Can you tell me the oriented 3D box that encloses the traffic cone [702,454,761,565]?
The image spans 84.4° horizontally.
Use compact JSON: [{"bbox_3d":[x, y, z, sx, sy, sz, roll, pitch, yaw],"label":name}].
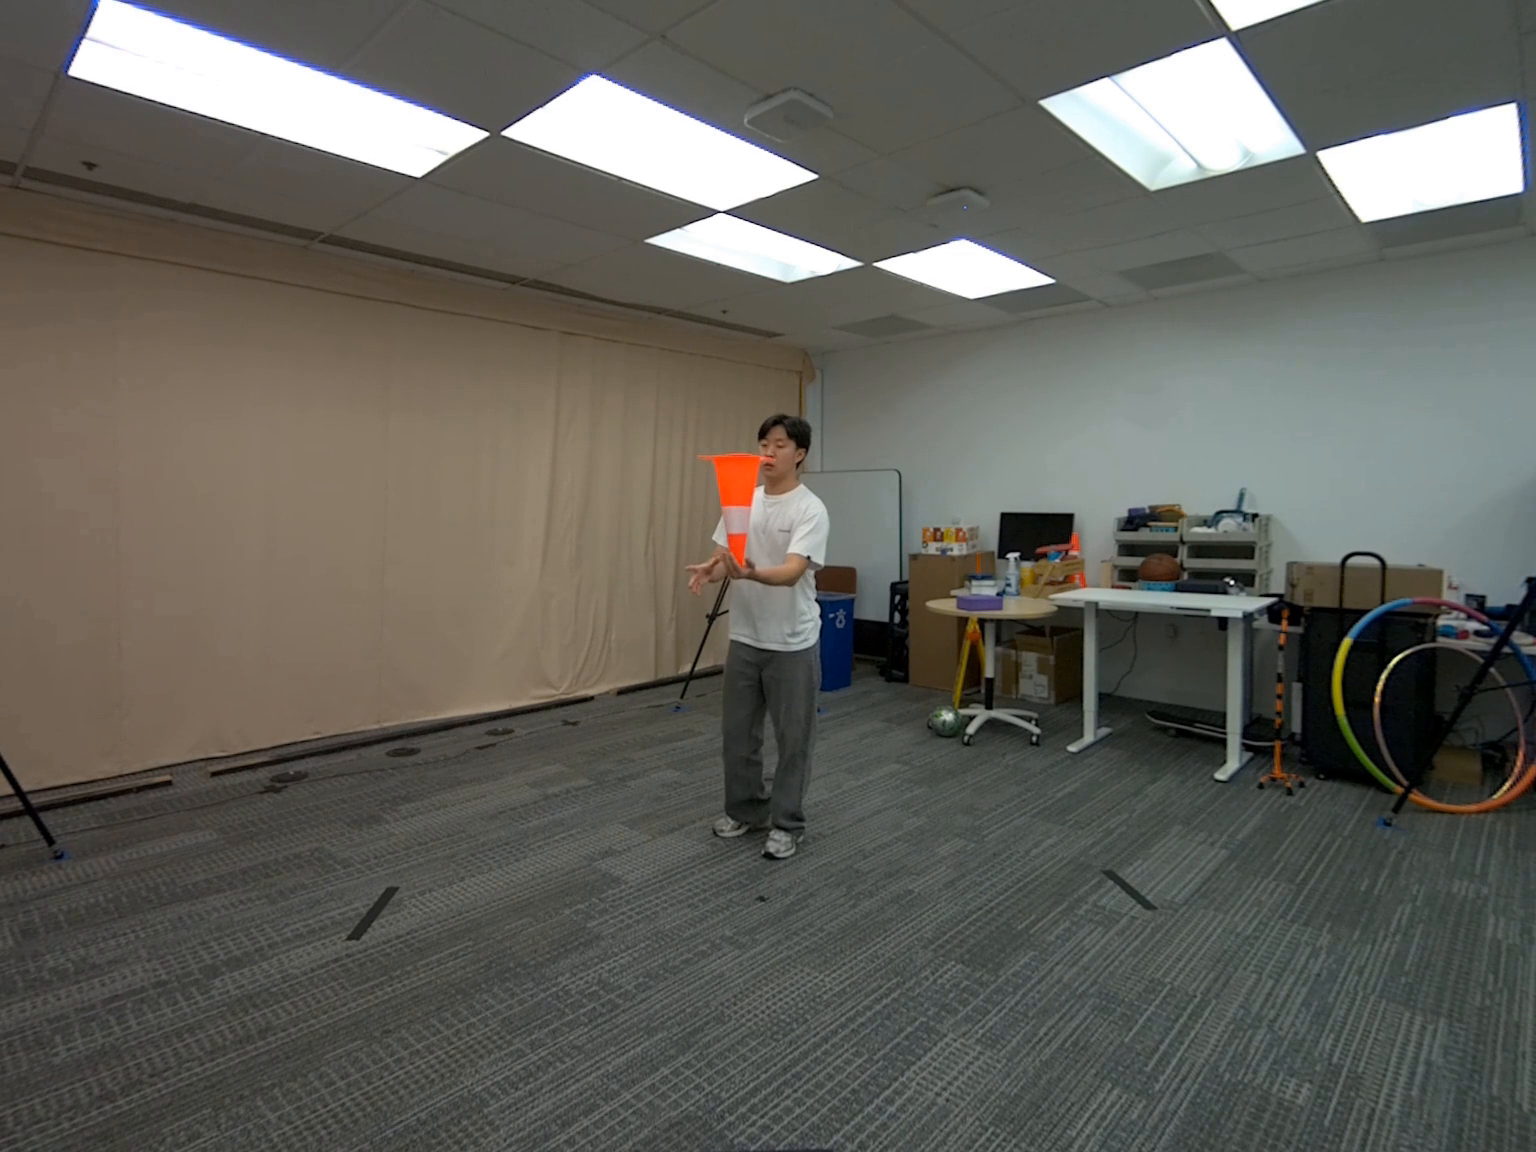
[{"bbox_3d":[-0.099,-0.206,2.860,0.210,0.383,0.198,1,2,42],"label":"traffic cone"}]
